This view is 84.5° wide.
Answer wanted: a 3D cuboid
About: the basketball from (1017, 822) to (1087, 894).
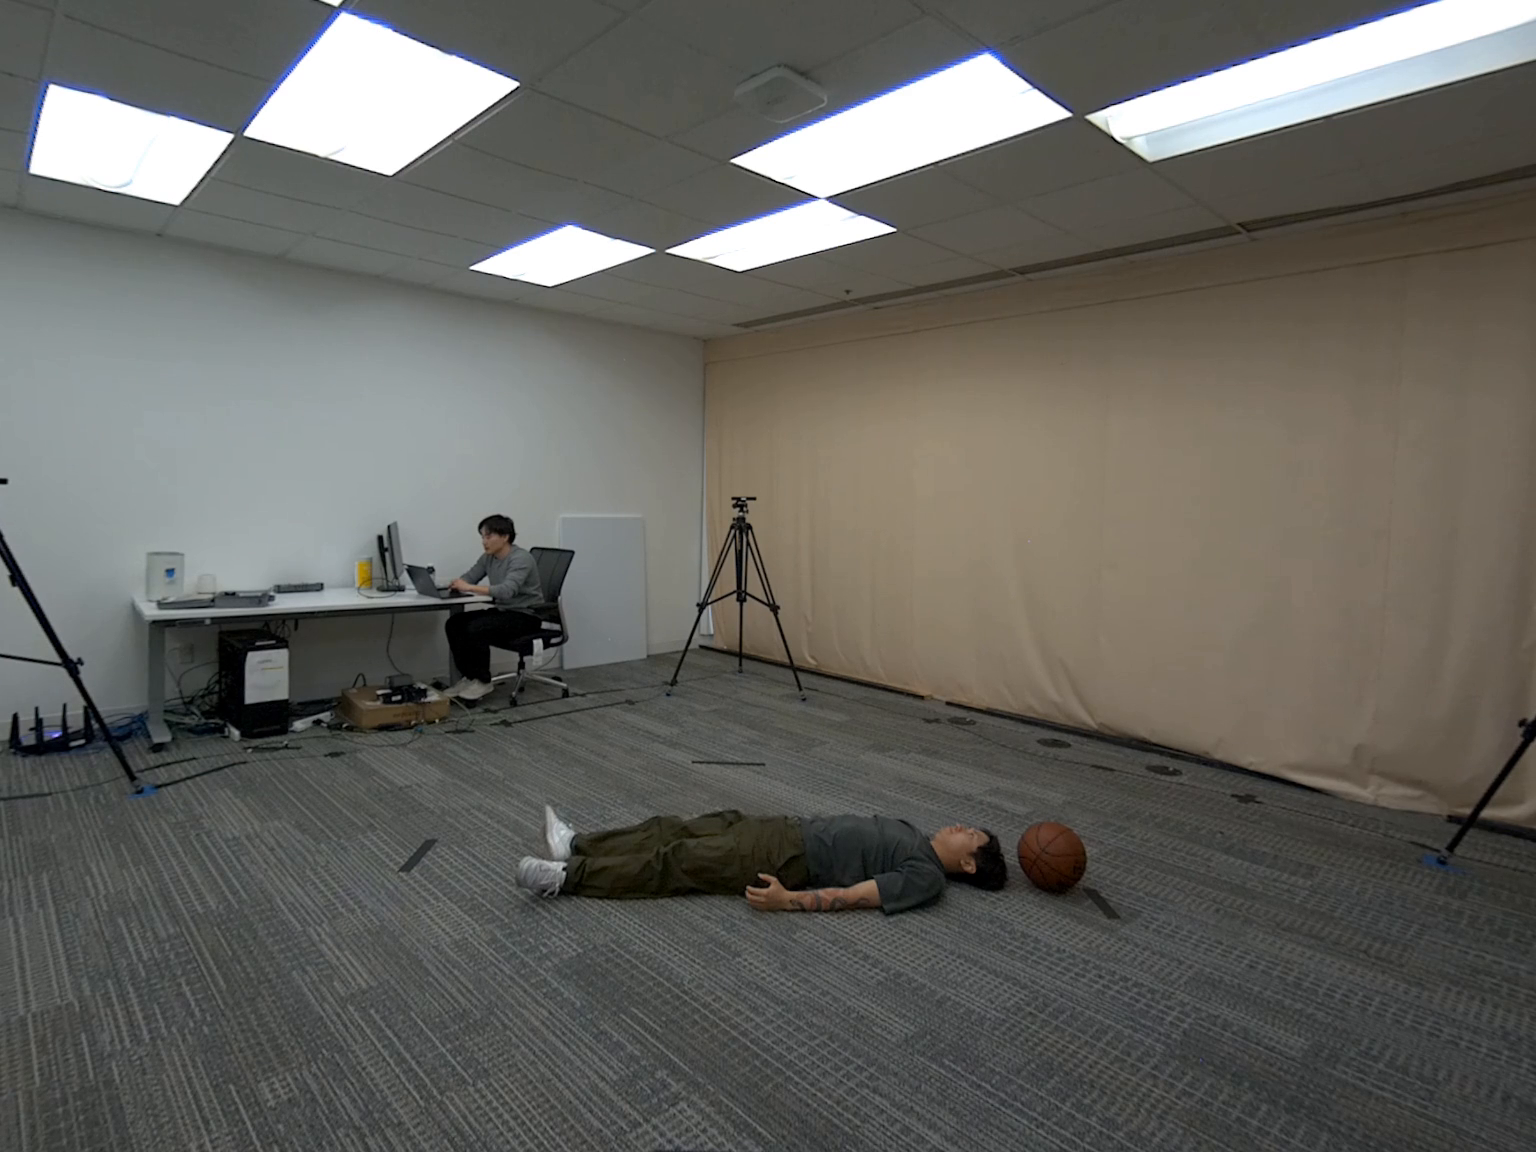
[{"bbox_3d":[1.027,1.017,3.079,0.236,0.235,0.237,1,4,-1],"label":"basketball"}]
